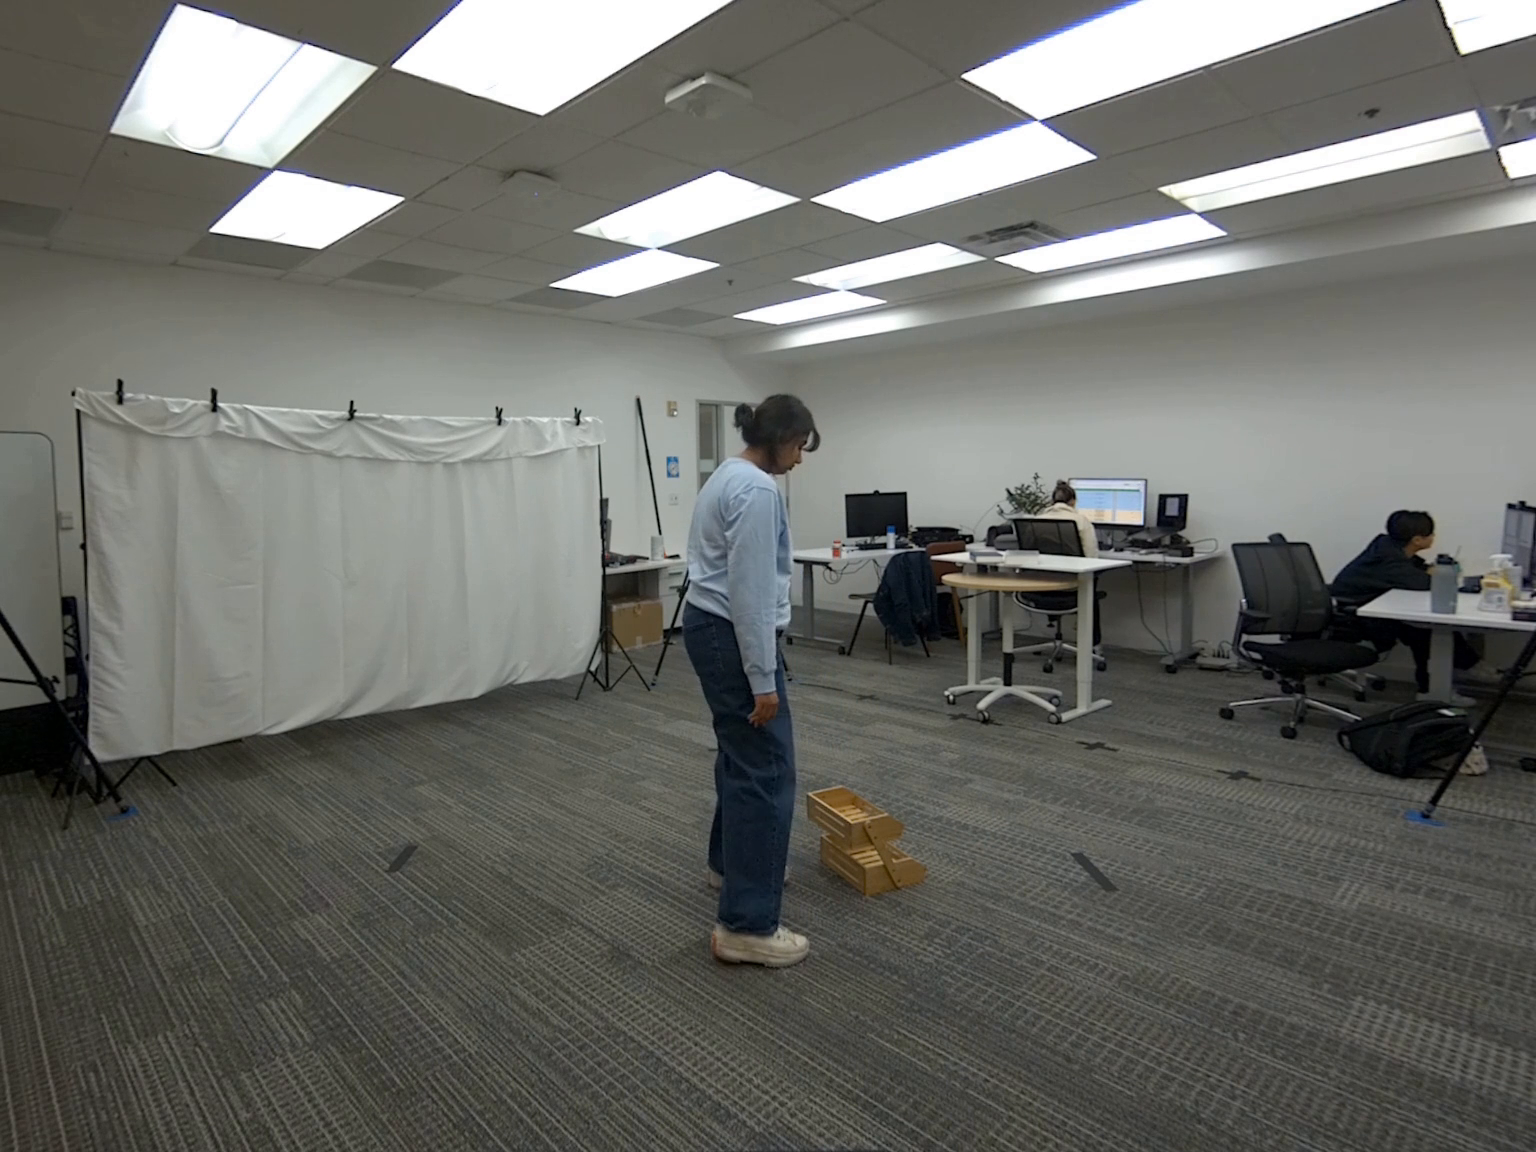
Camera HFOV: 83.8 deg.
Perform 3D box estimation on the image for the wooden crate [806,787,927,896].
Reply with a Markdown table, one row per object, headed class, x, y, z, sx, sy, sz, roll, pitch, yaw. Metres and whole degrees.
| class | x | y | z | sx | sy | sz | roll | pitch | yaw |
| --- | --- | --- | --- | --- | --- | --- | --- | --- | --- |
| wooden crate | 0.350 | 0.913 | 3.024 | 0.296 | 0.272 | 0.333 | -4 | 6 | -26 |
